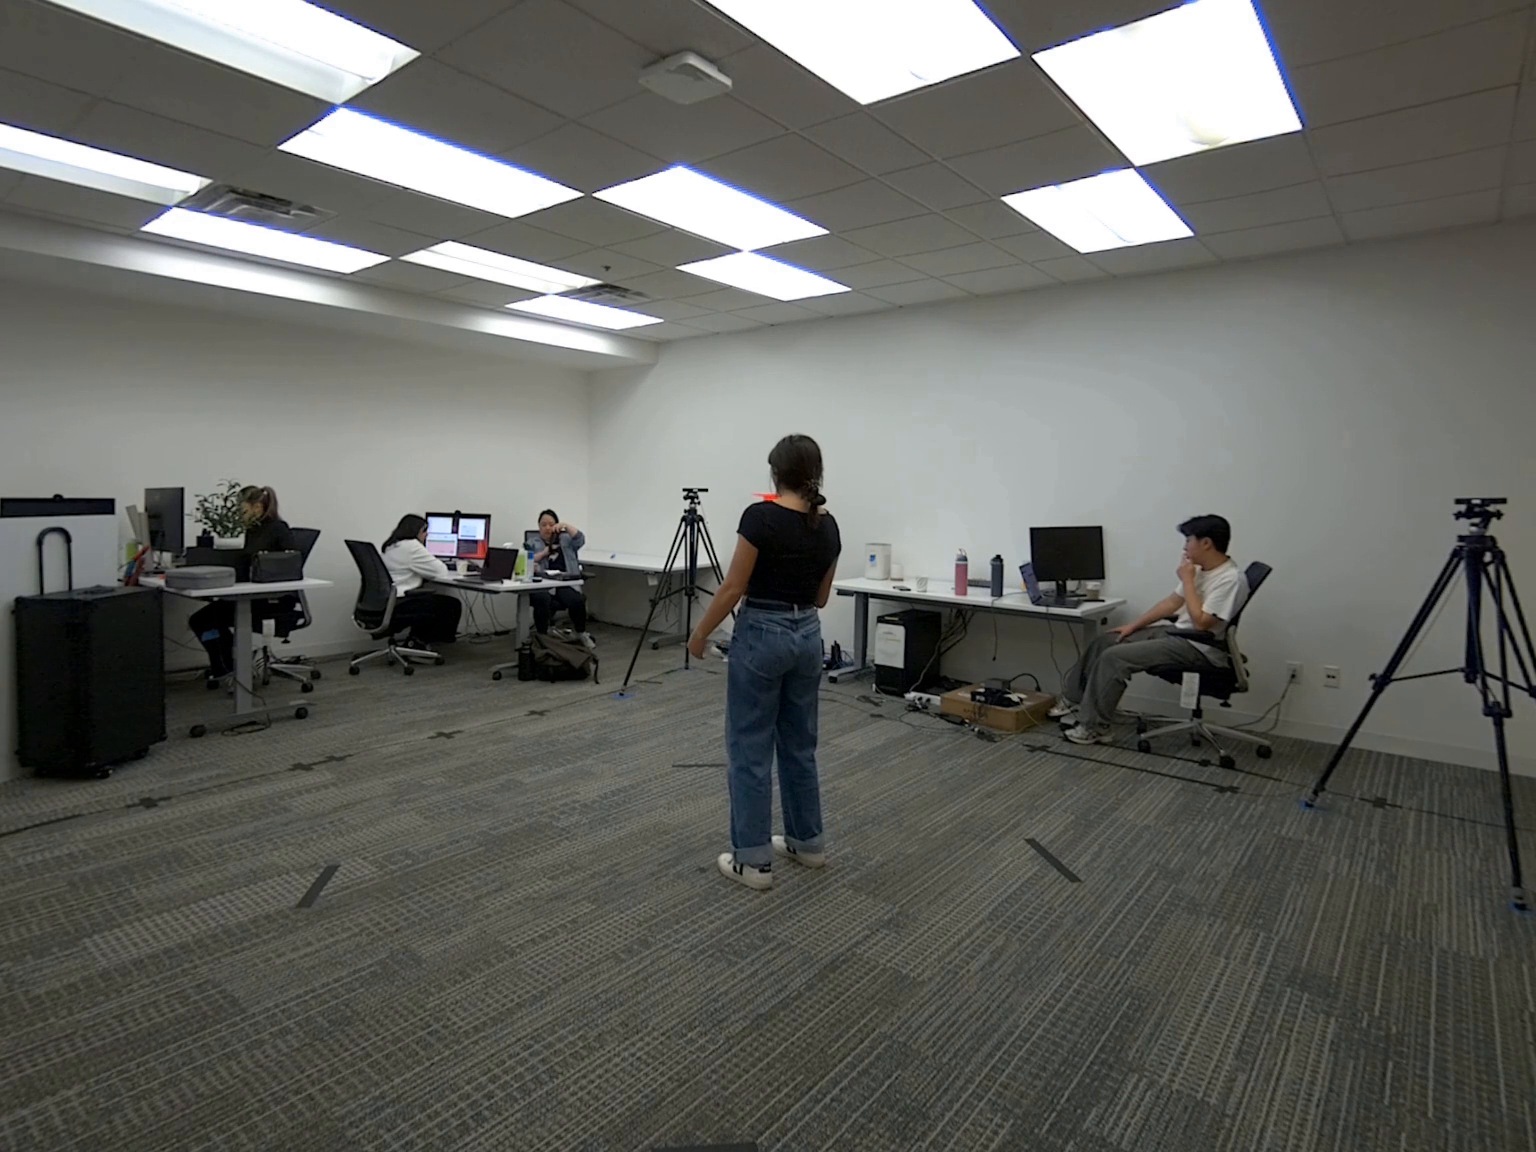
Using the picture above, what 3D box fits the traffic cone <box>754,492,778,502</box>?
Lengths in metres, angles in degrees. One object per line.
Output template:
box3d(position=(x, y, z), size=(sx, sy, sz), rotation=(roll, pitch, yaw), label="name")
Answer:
box3d(position=(0.071, -0.142, 3.439), size=(0.209, 0.384, 0.199), rotation=(-1, -2, 34), label="traffic cone")
